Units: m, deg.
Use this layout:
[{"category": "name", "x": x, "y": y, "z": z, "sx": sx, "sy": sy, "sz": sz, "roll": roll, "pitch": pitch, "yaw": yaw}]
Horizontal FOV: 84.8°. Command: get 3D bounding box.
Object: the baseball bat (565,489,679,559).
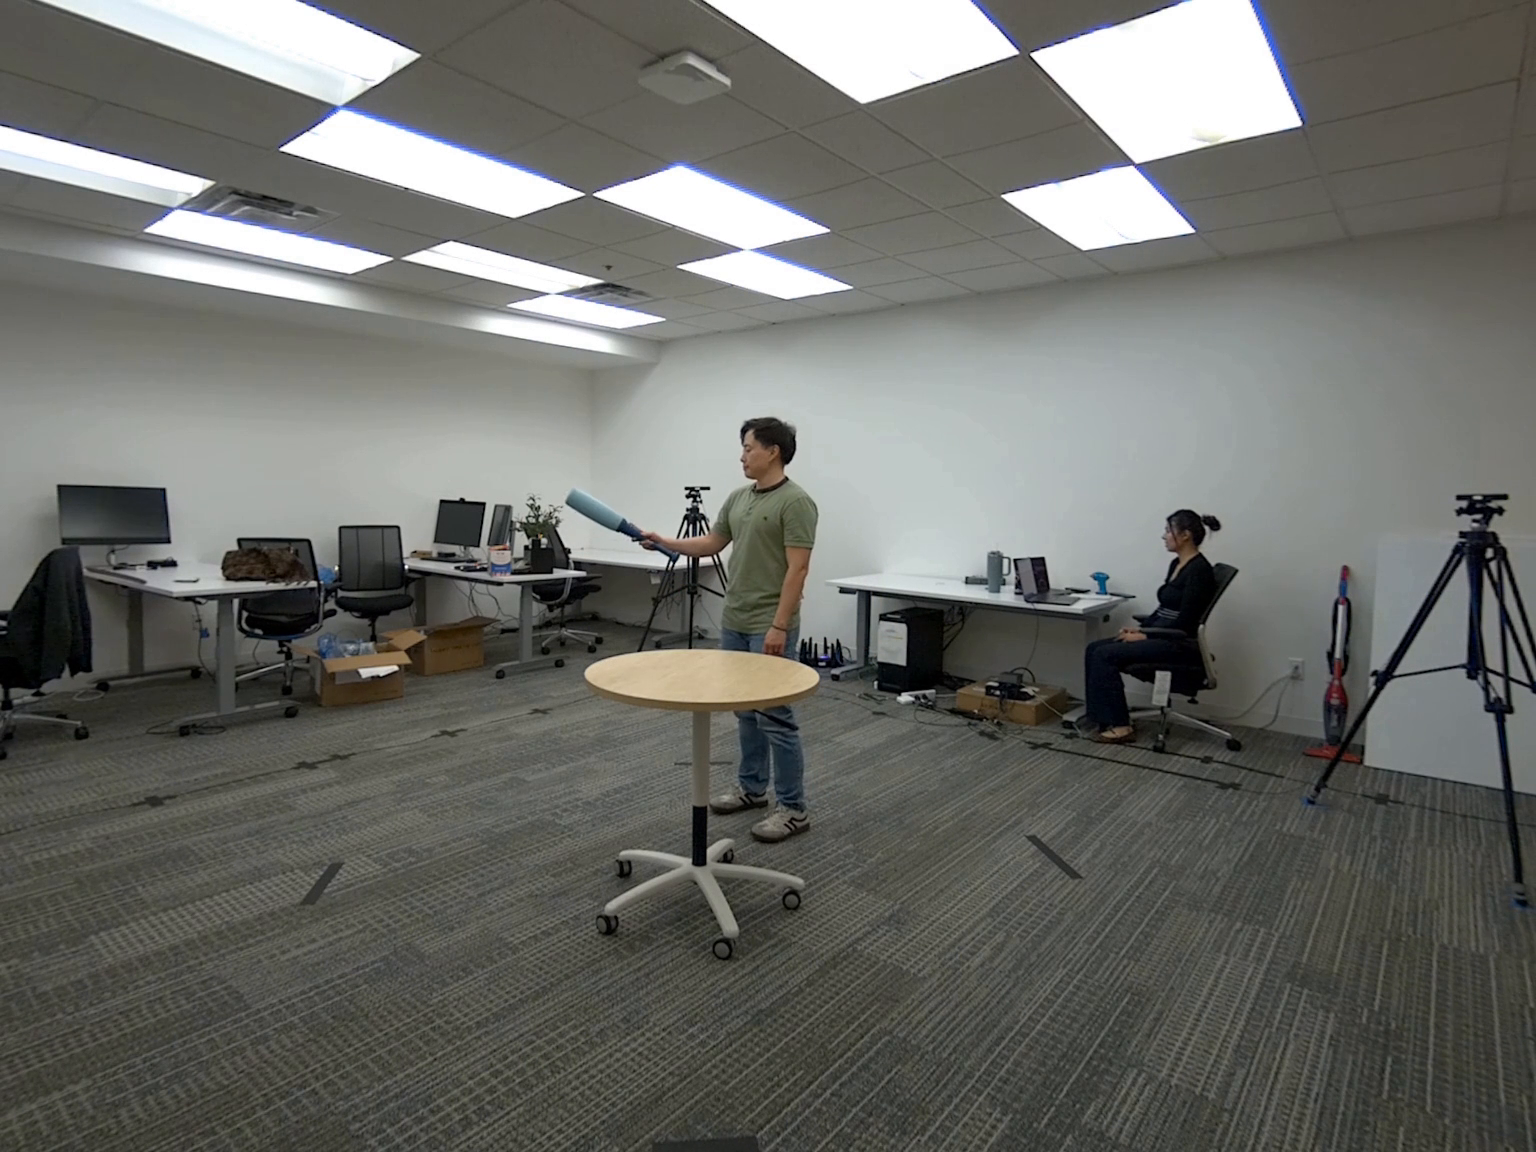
[{"category": "baseball bat", "x": -0.625, "y": -0.213, "z": 3.643, "sx": 0.539, "sy": 0.089, "sz": 0.090, "roll": 31, "pitch": 1, "yaw": -5}]
